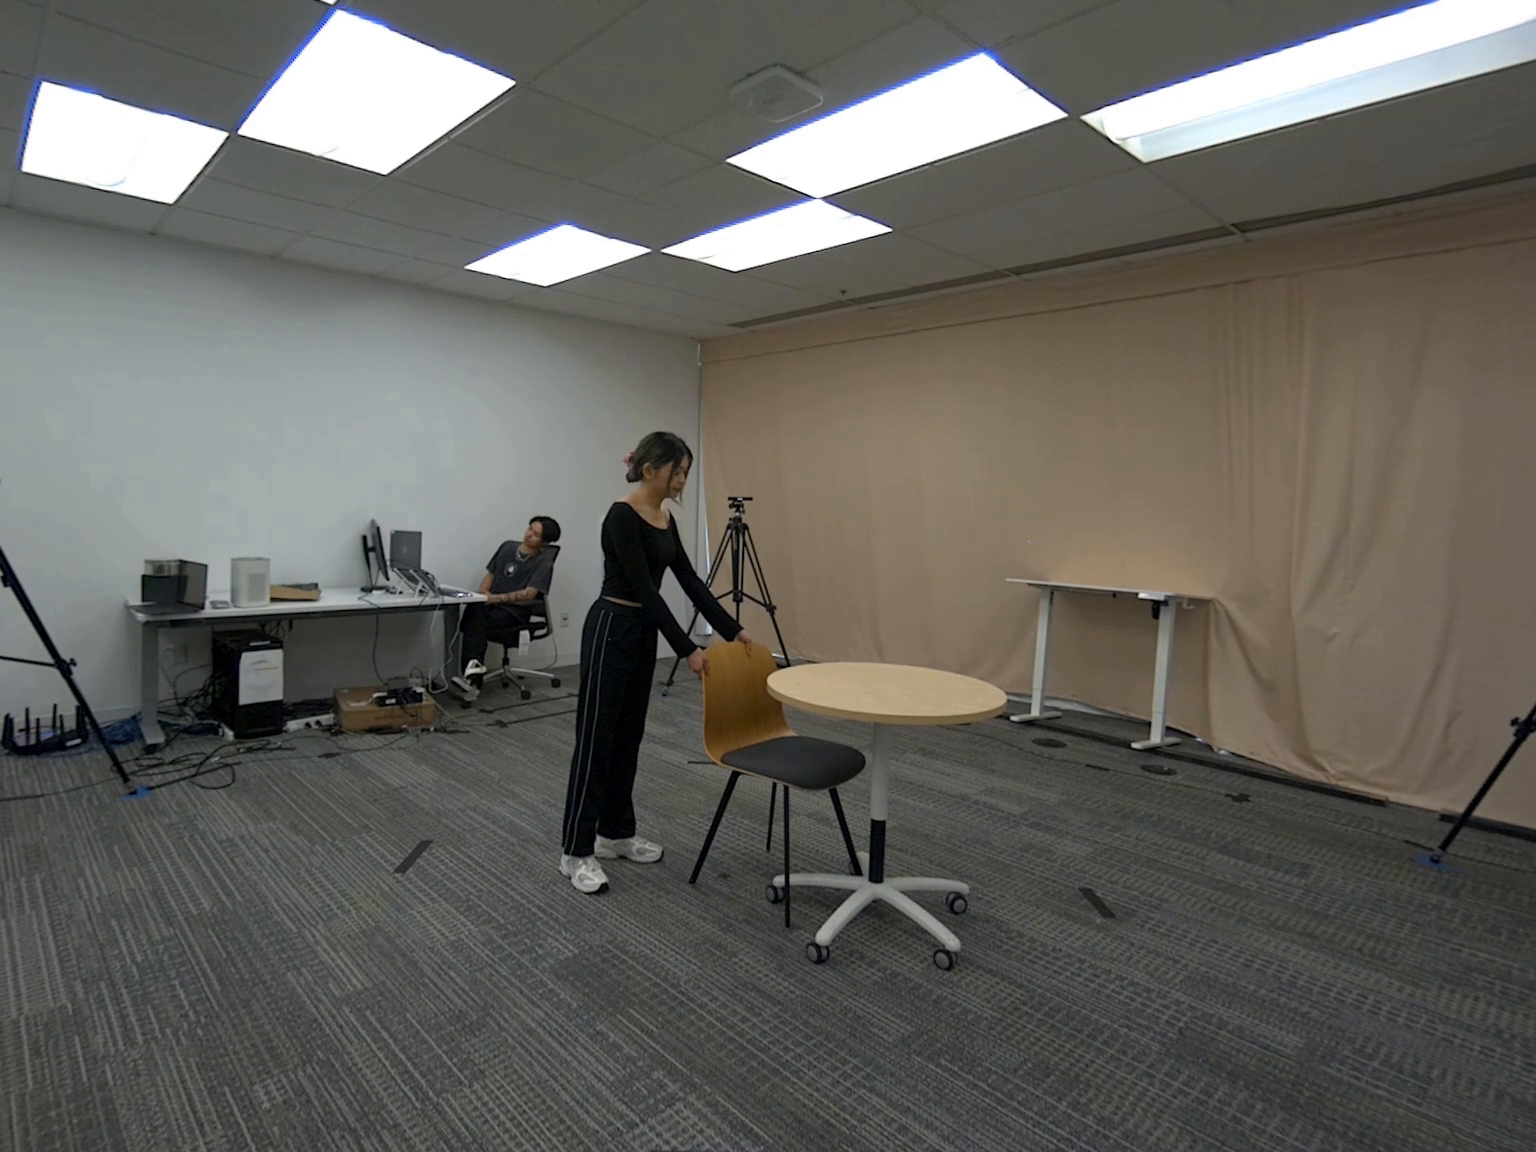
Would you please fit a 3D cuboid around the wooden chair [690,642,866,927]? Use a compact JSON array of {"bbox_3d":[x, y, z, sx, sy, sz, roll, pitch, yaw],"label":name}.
[{"bbox_3d":[0.041,0.689,3.018,0.535,0.878,0.467,-2,-1,41],"label":"wooden chair"}]
